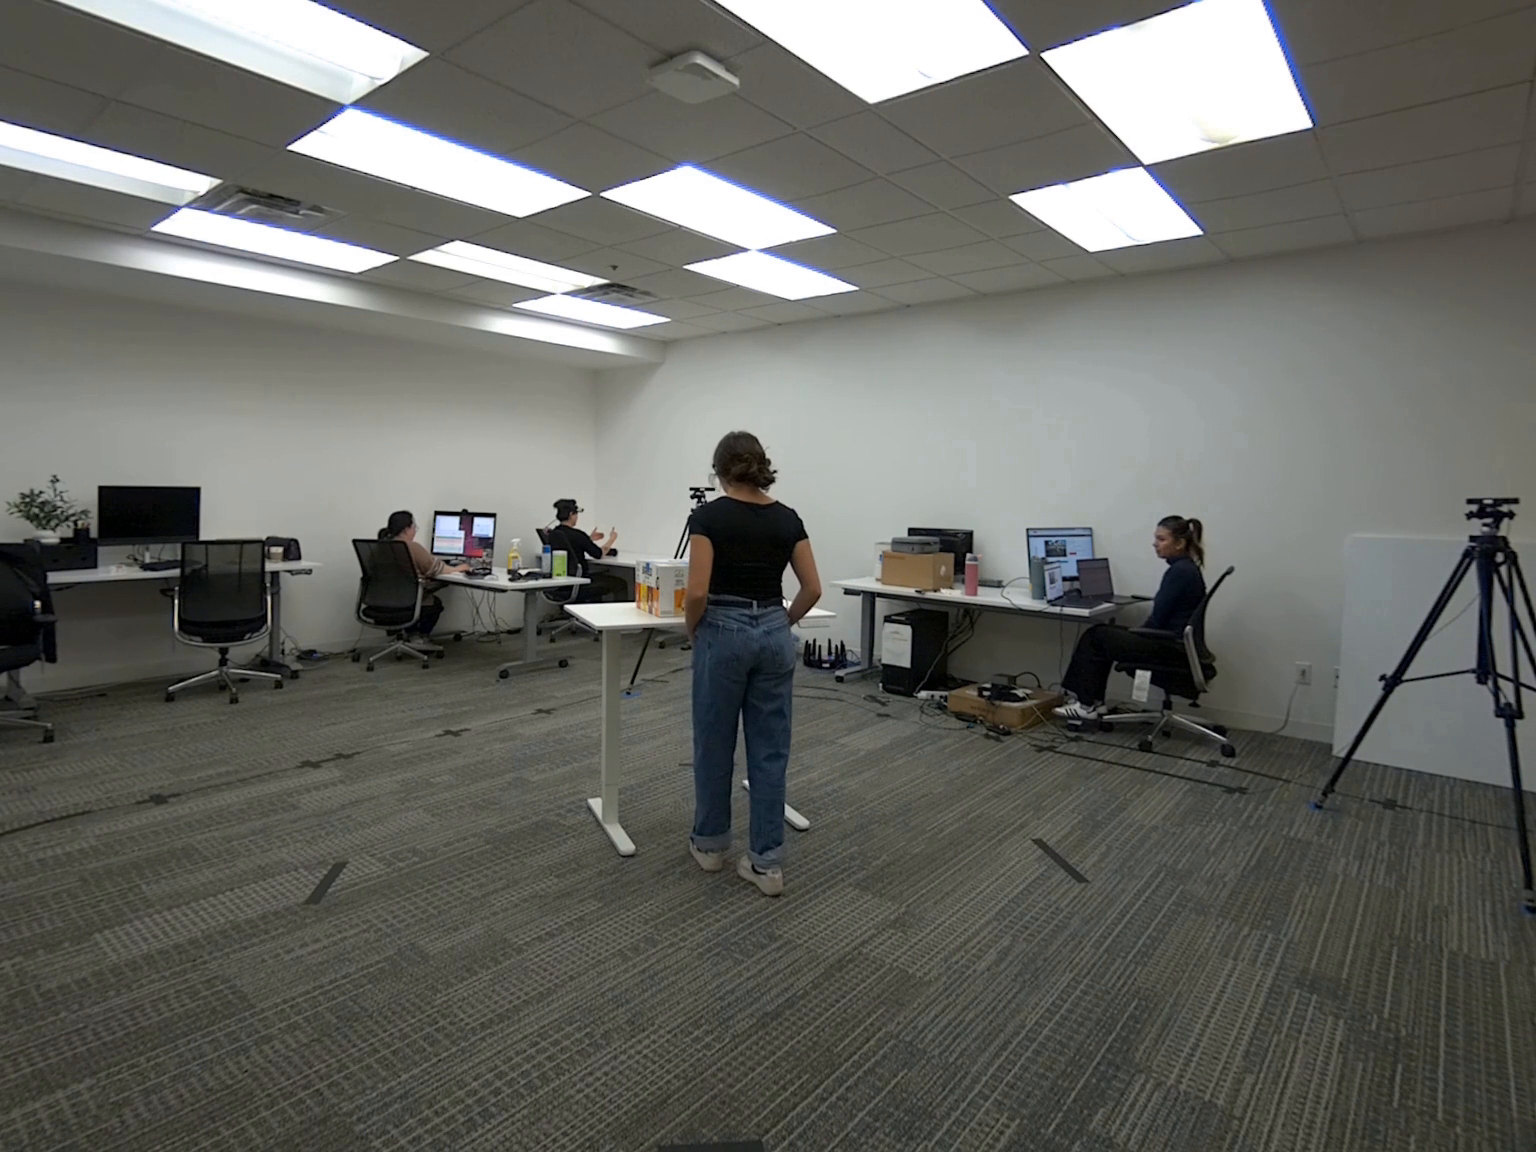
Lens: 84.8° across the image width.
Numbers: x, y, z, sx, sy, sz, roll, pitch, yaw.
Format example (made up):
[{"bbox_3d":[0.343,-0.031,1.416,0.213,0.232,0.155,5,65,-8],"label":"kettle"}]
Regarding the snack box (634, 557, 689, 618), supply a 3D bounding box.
[{"bbox_3d":[-0.320,0.038,3.541,0.396,0.205,0.349,-2,6,-23],"label":"snack box"}]
